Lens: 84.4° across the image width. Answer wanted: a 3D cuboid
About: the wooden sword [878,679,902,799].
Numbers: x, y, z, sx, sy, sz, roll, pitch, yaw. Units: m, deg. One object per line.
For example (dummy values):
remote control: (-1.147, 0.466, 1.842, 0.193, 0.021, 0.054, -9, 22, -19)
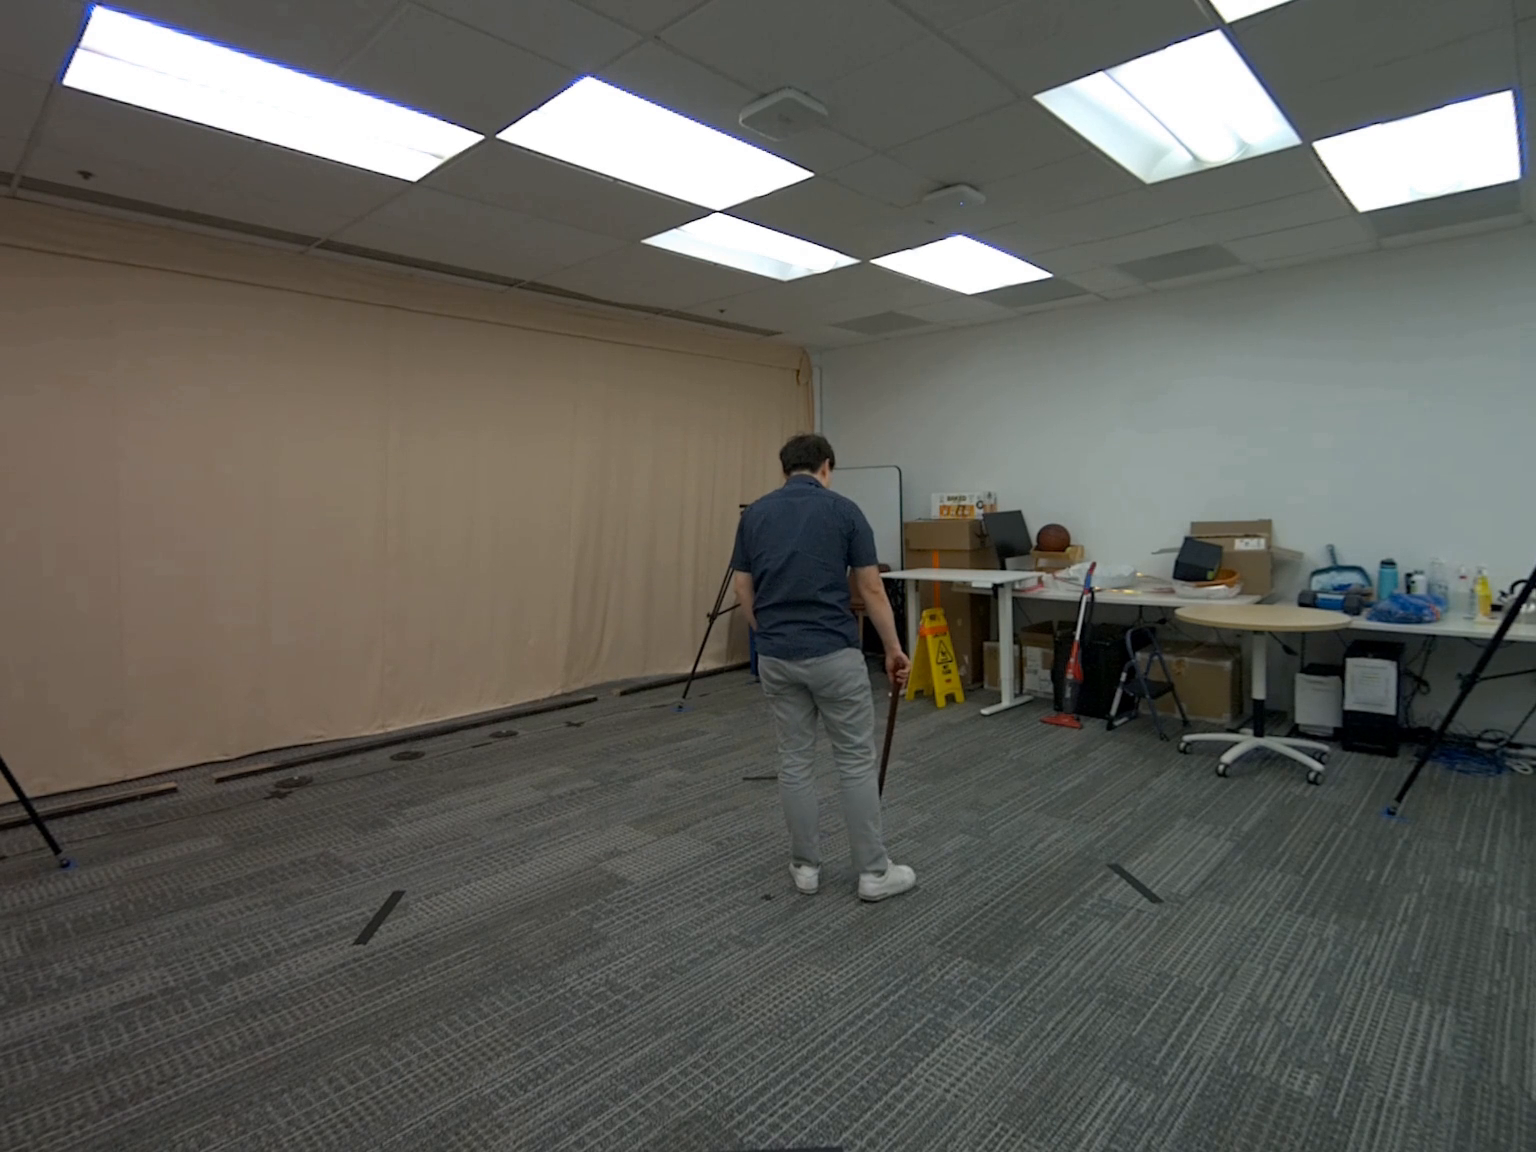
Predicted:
wooden sword: (0.464, 0.703, 3.302, 0.052, 1.007, 0.024, 12, 40, 10)
